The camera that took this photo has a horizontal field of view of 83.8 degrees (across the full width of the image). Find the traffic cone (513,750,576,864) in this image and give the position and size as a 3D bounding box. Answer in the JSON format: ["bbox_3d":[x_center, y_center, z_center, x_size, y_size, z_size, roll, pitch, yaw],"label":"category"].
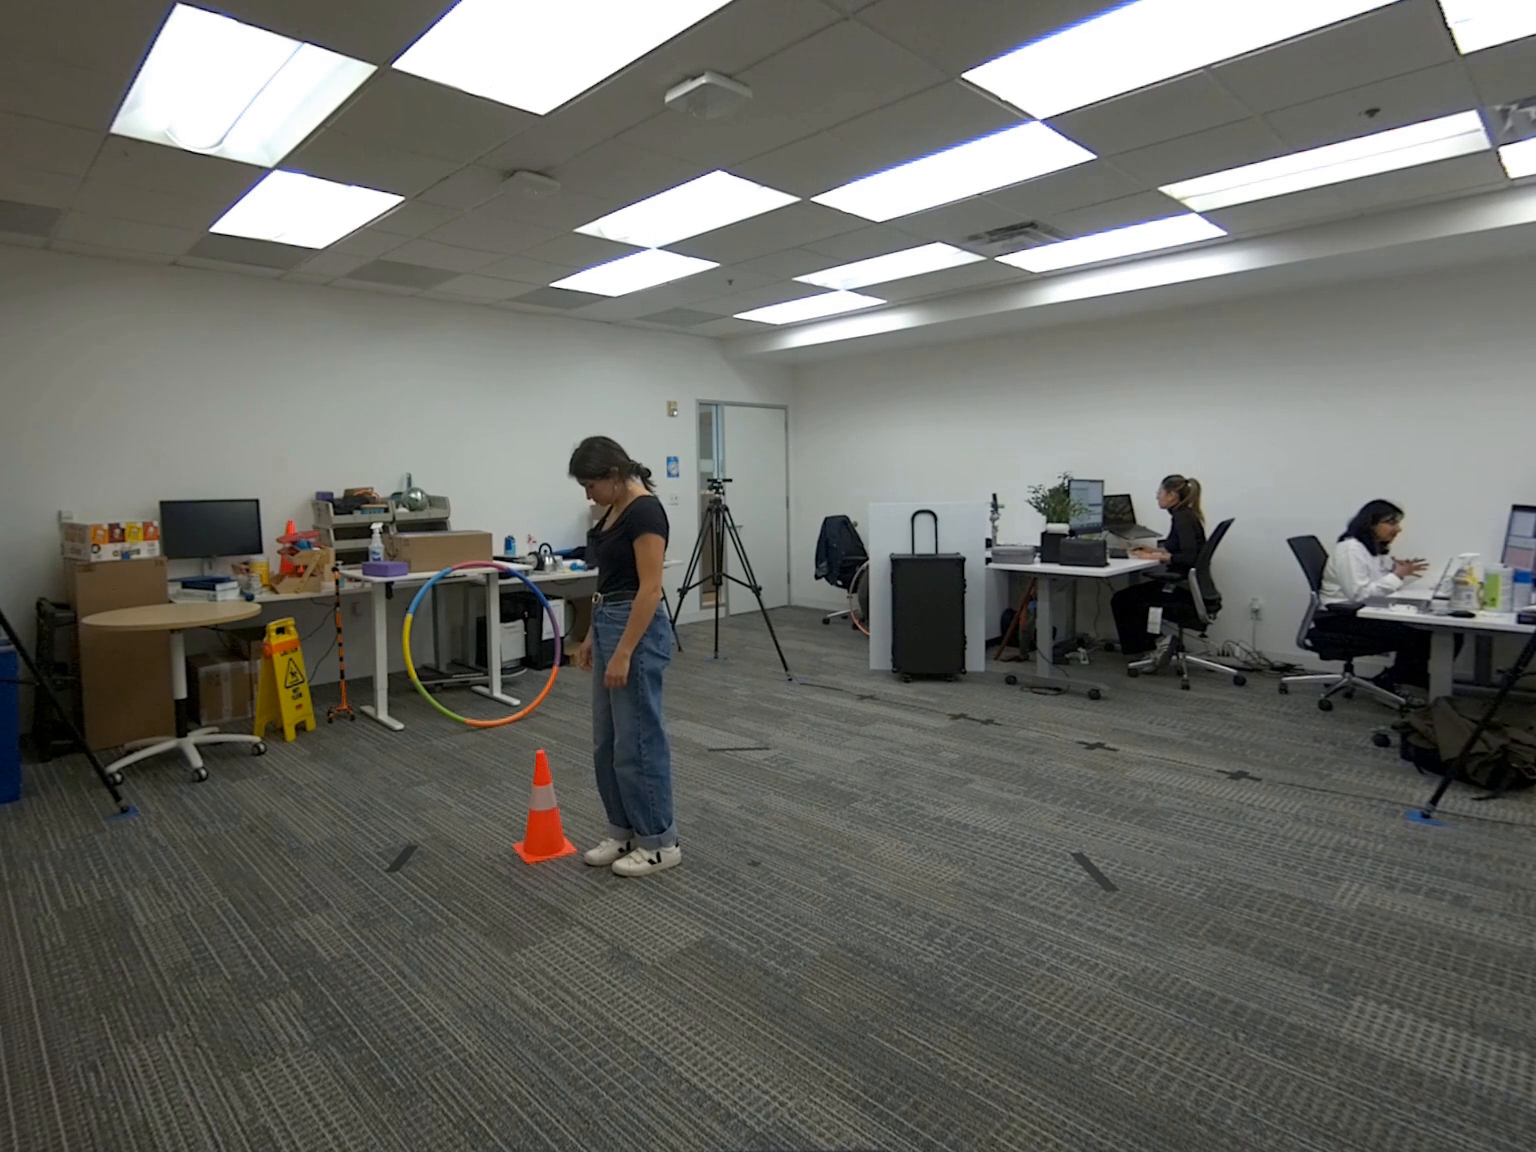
[{"bbox_3d":[-0.856,0.854,3.270,0.198,0.383,0.210,-2,3,-29],"label":"traffic cone"}]
